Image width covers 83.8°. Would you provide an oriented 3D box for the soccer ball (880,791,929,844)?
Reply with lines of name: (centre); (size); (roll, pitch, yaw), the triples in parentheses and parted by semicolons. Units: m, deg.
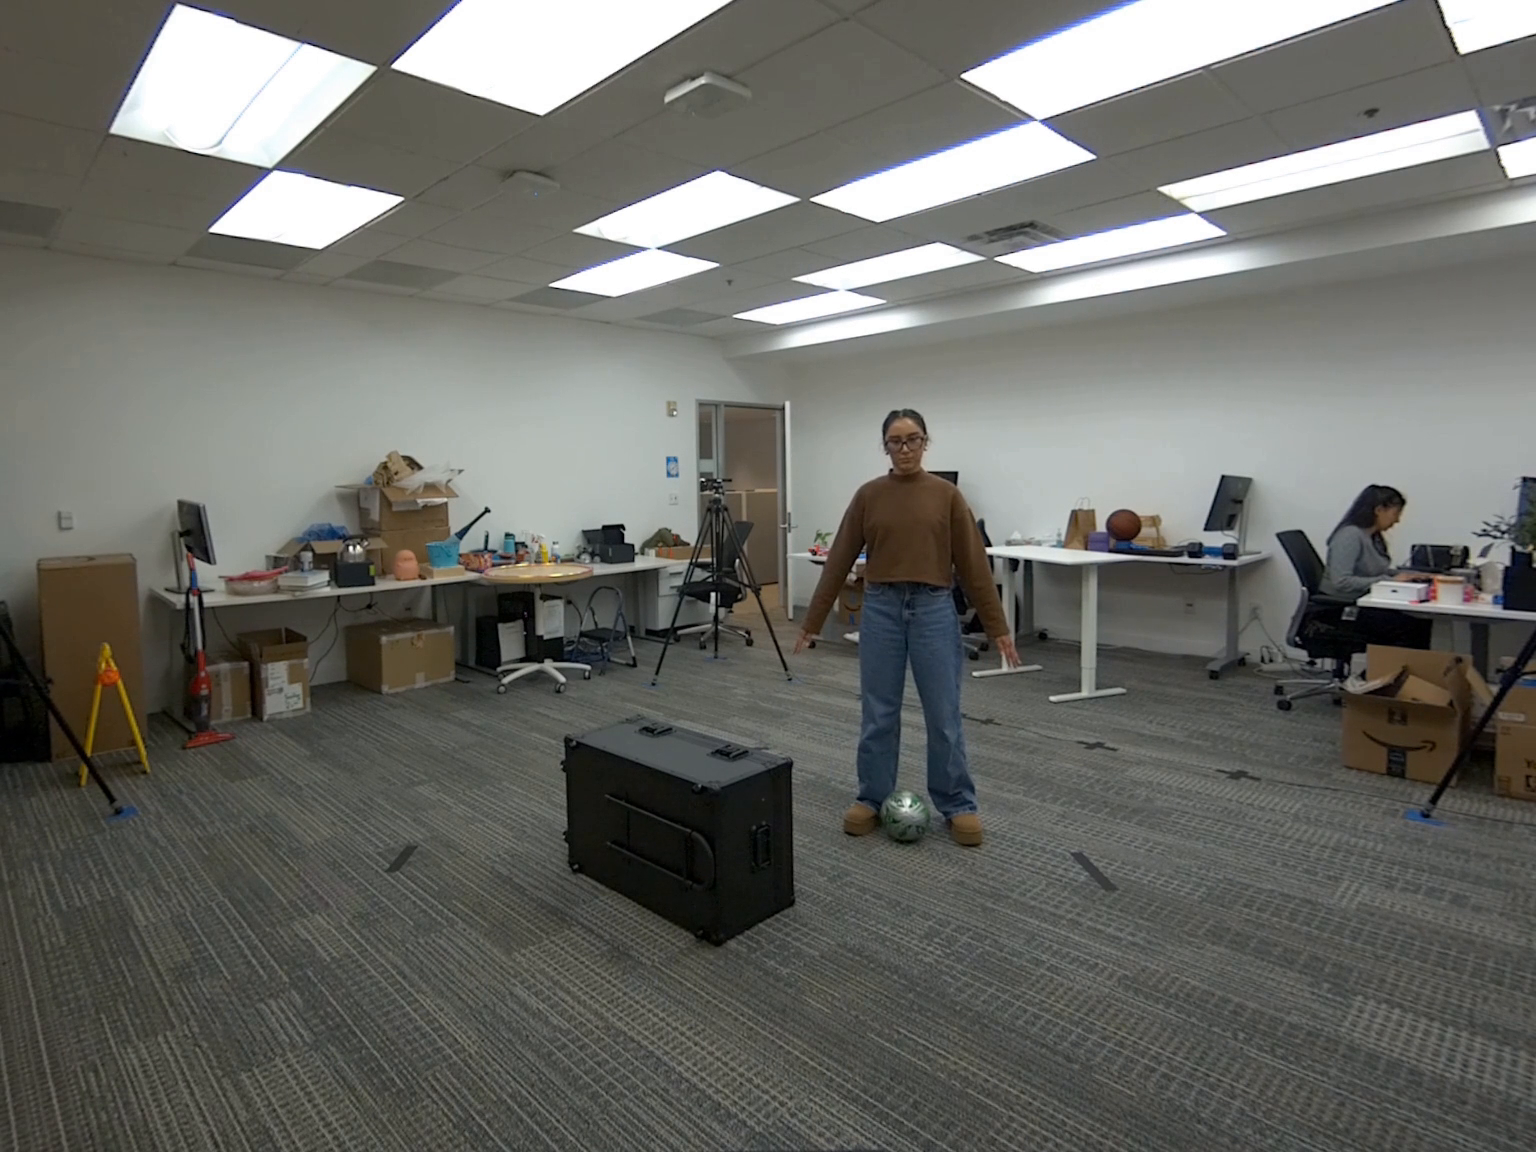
soccer ball: (0.512, 0.921, 3.280); (0.187, 0.187, 0.188); (-1, 5, -2)
